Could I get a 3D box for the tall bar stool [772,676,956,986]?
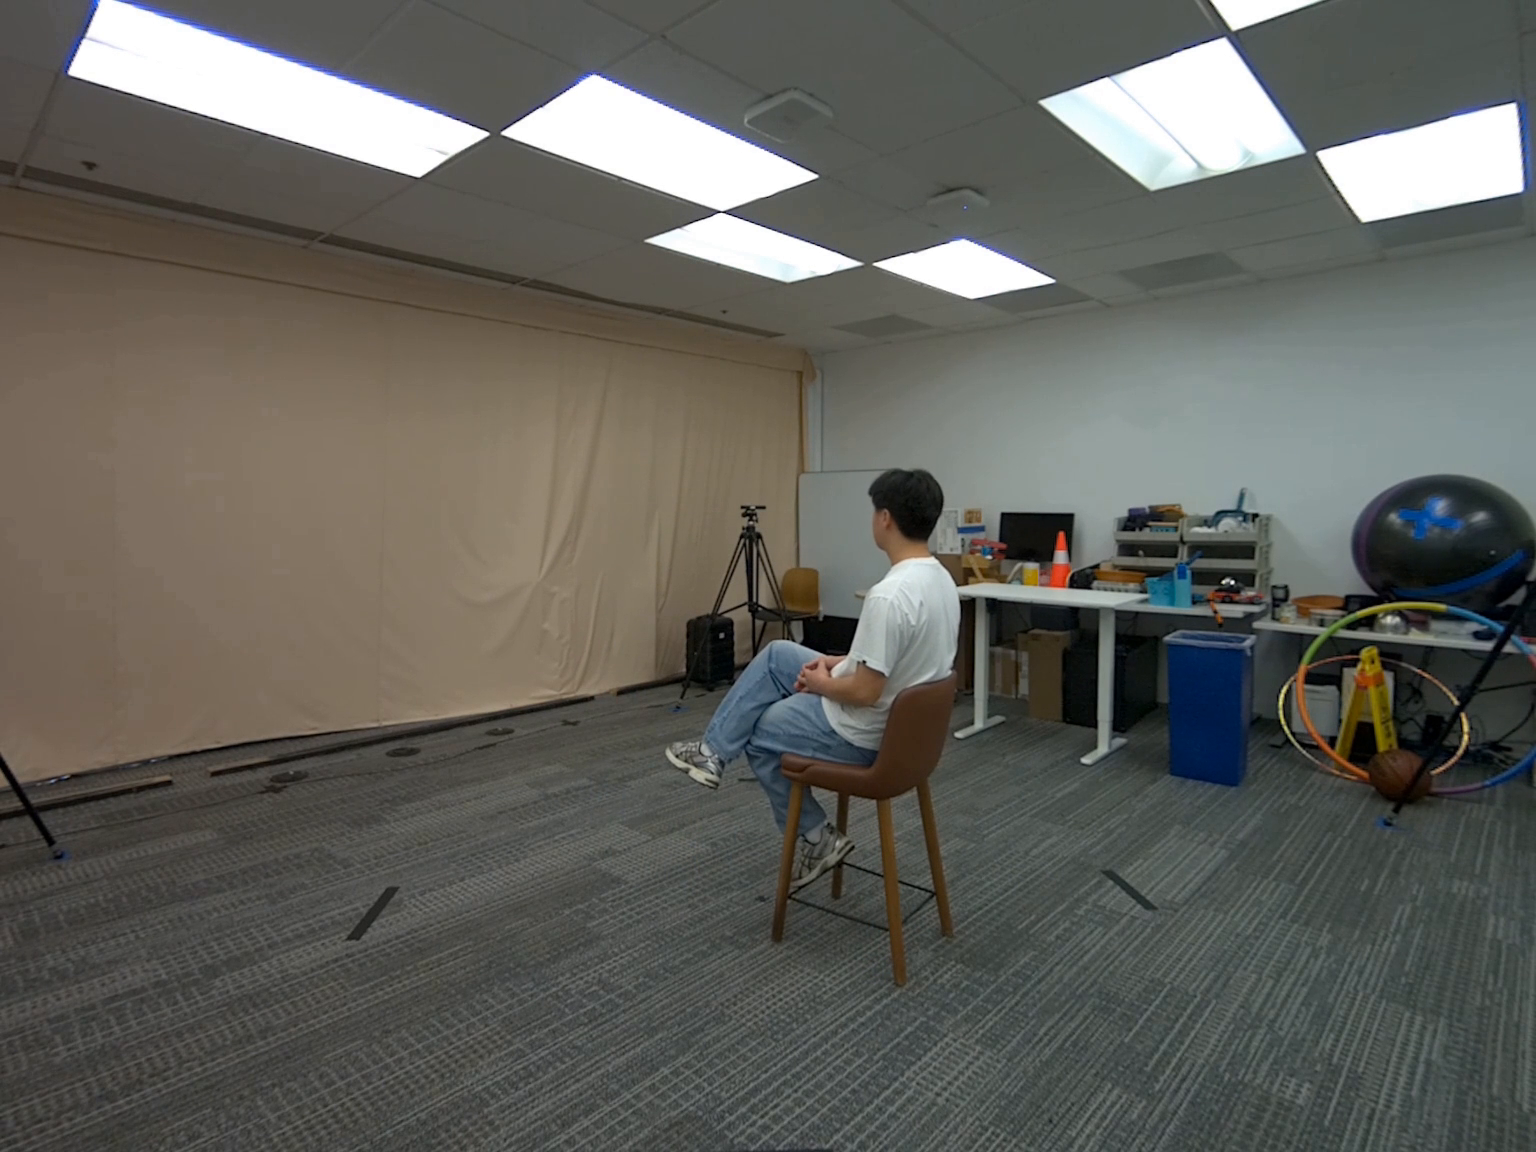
[{"bbox_3d":[0.324,0.736,2.683,0.483,0.887,0.443,5,7,36],"label":"tall bar stool"}]
